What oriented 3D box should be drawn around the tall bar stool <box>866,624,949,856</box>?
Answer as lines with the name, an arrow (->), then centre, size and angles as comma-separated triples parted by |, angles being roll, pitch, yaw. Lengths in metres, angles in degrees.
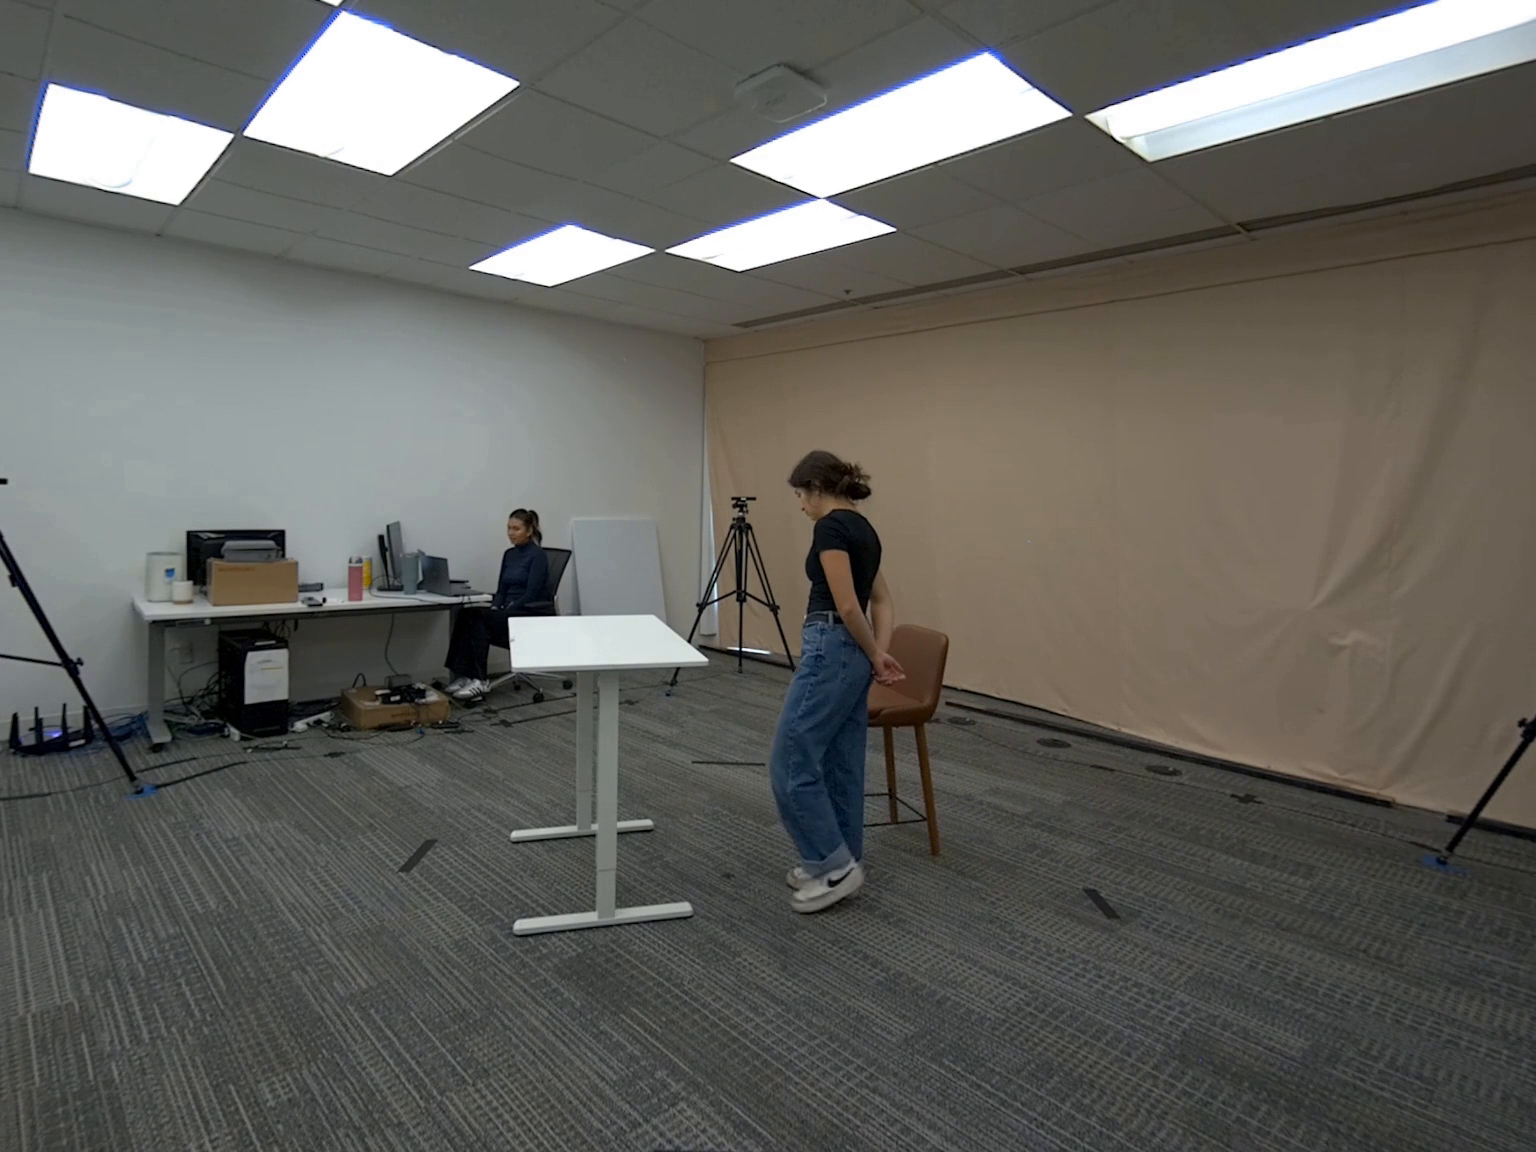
tall bar stool -> 0.422, 0.658, 3.425 | 0.461, 0.888, 0.464 | 2, 3, -19
